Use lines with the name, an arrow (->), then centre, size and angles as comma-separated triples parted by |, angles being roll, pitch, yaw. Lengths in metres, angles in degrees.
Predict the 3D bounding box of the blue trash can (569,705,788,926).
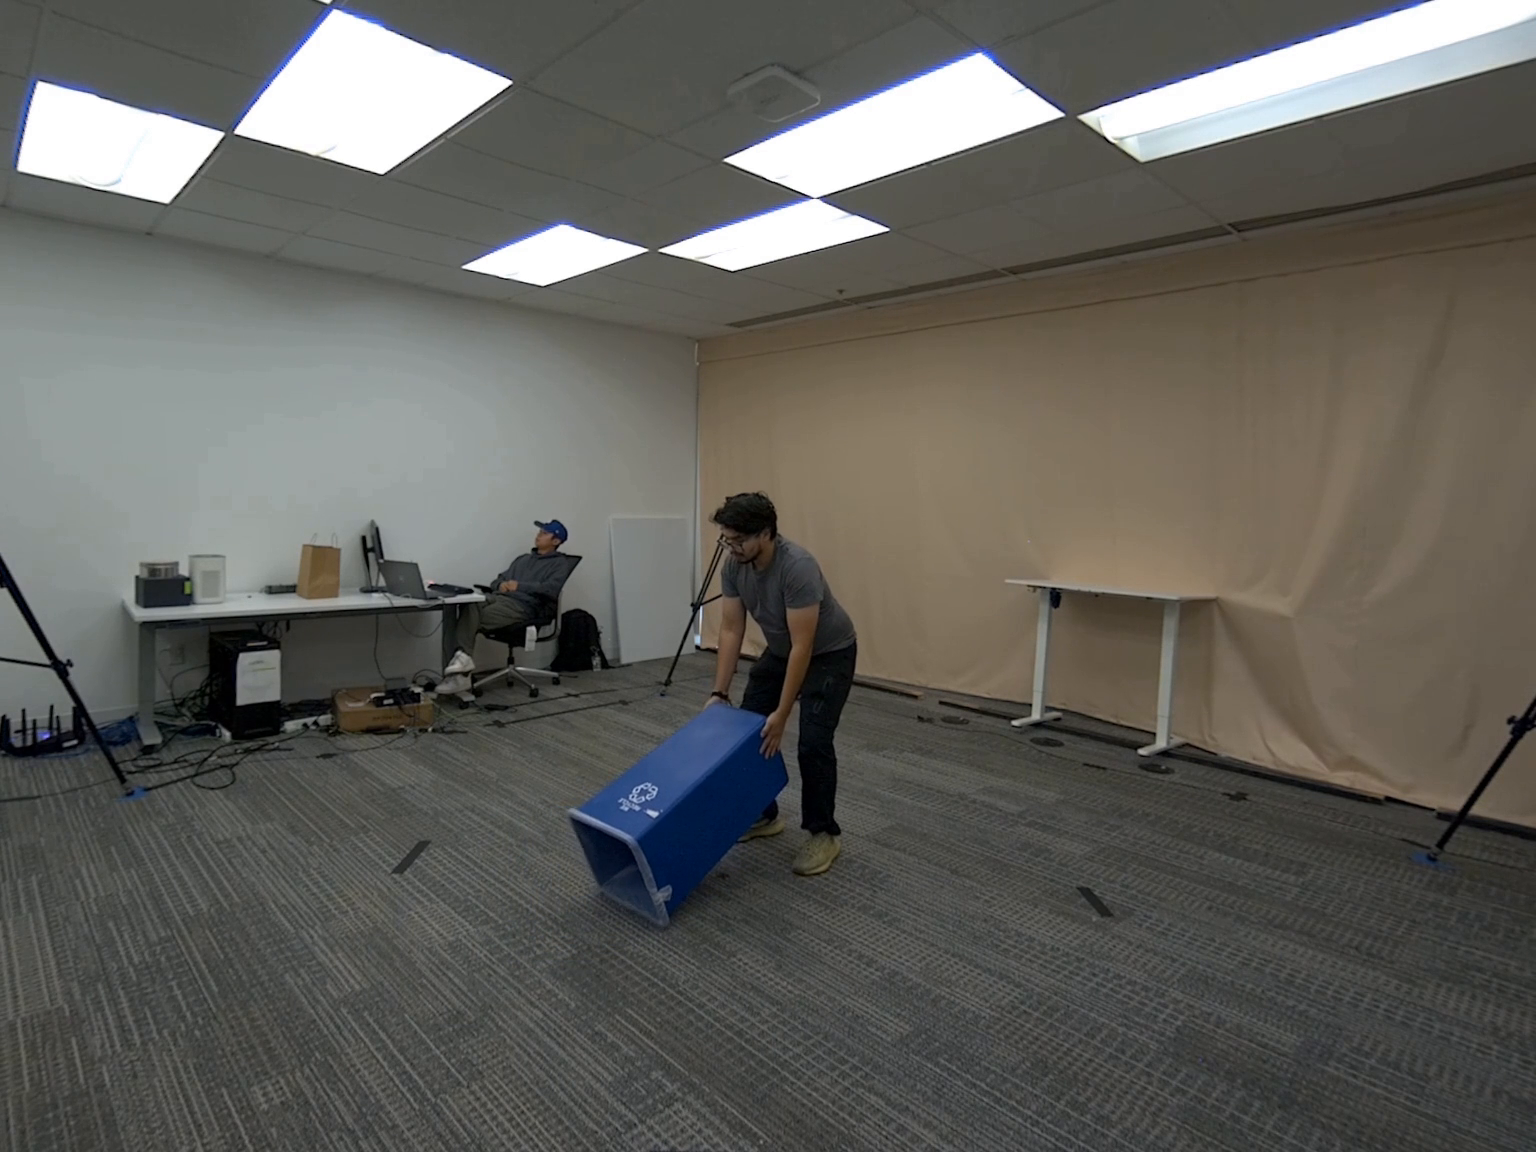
blue trash can -> -0.295, 0.804, 2.986 | 0.383, 0.371, 0.709 | 4, 30, 43
